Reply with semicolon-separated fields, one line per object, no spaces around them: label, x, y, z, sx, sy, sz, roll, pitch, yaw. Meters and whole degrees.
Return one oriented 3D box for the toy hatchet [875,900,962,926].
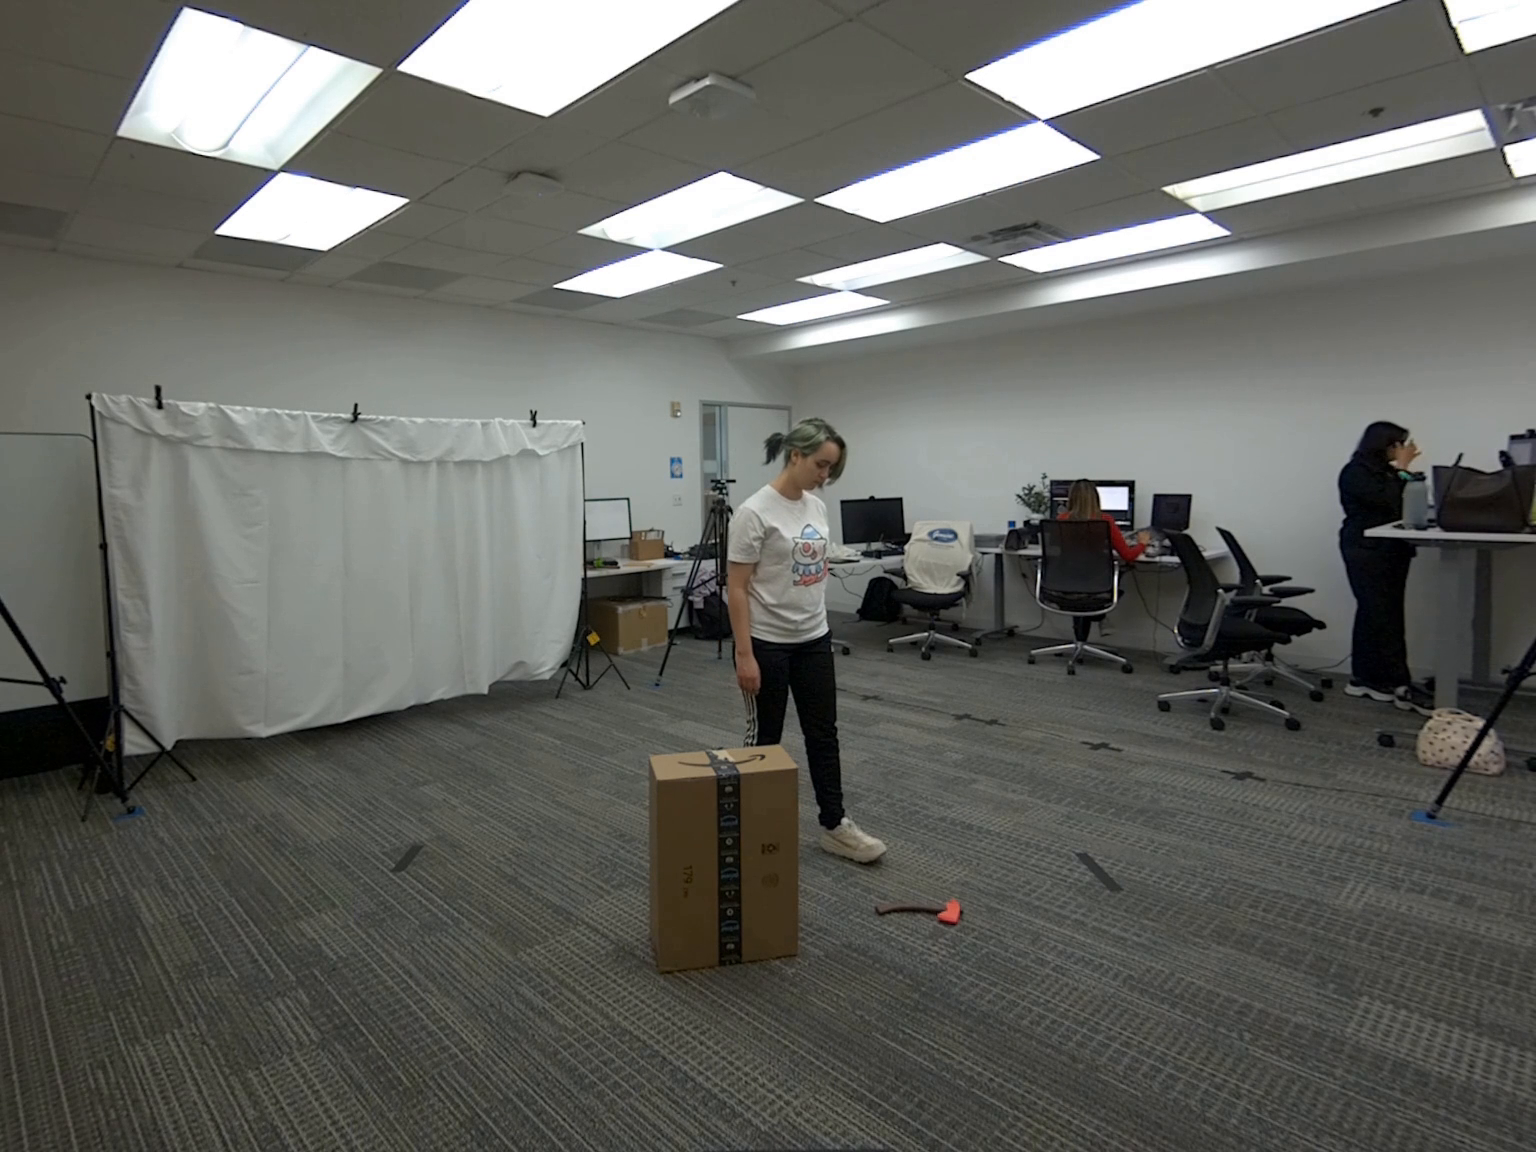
toy hatchet;0.492;1.075;2.702;0.269;0.029;0.133;-4;10;-5
